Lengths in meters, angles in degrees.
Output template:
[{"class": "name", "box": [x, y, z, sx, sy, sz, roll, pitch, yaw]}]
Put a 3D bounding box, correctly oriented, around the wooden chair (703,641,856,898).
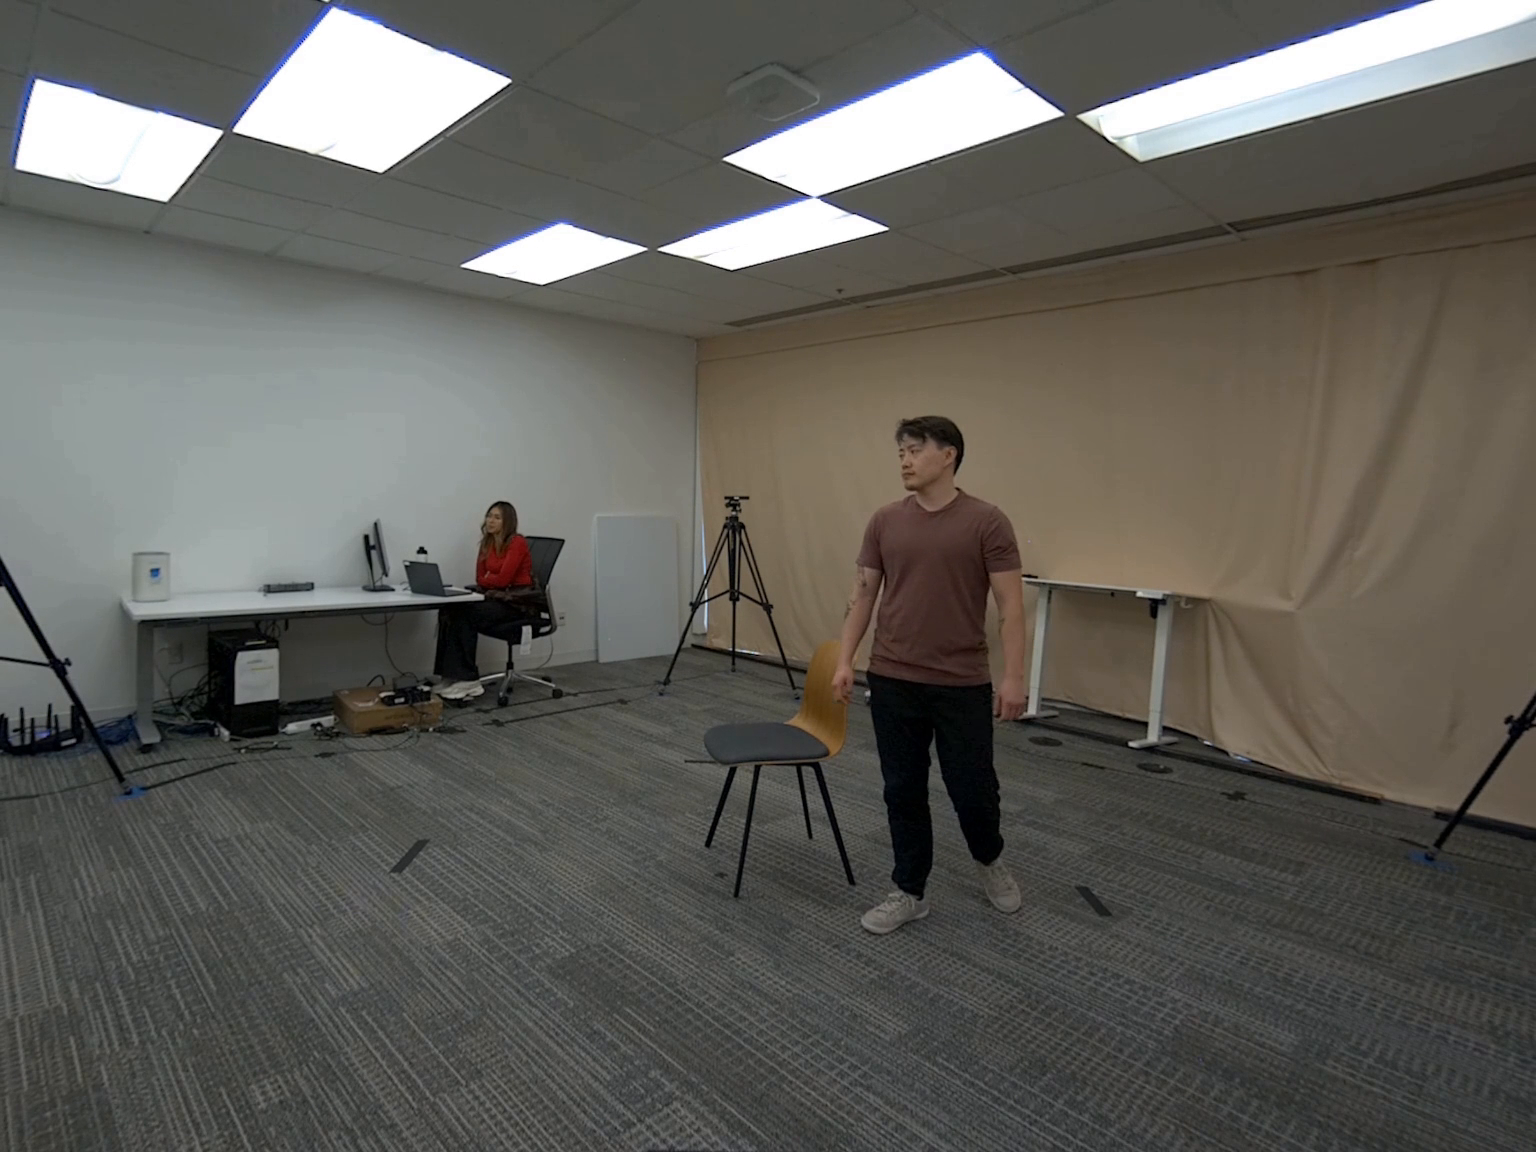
[{"class": "wooden chair", "box": [0.031, 0.676, 3.166, 0.516, 0.876, 0.485, 5, 3, -17]}]
